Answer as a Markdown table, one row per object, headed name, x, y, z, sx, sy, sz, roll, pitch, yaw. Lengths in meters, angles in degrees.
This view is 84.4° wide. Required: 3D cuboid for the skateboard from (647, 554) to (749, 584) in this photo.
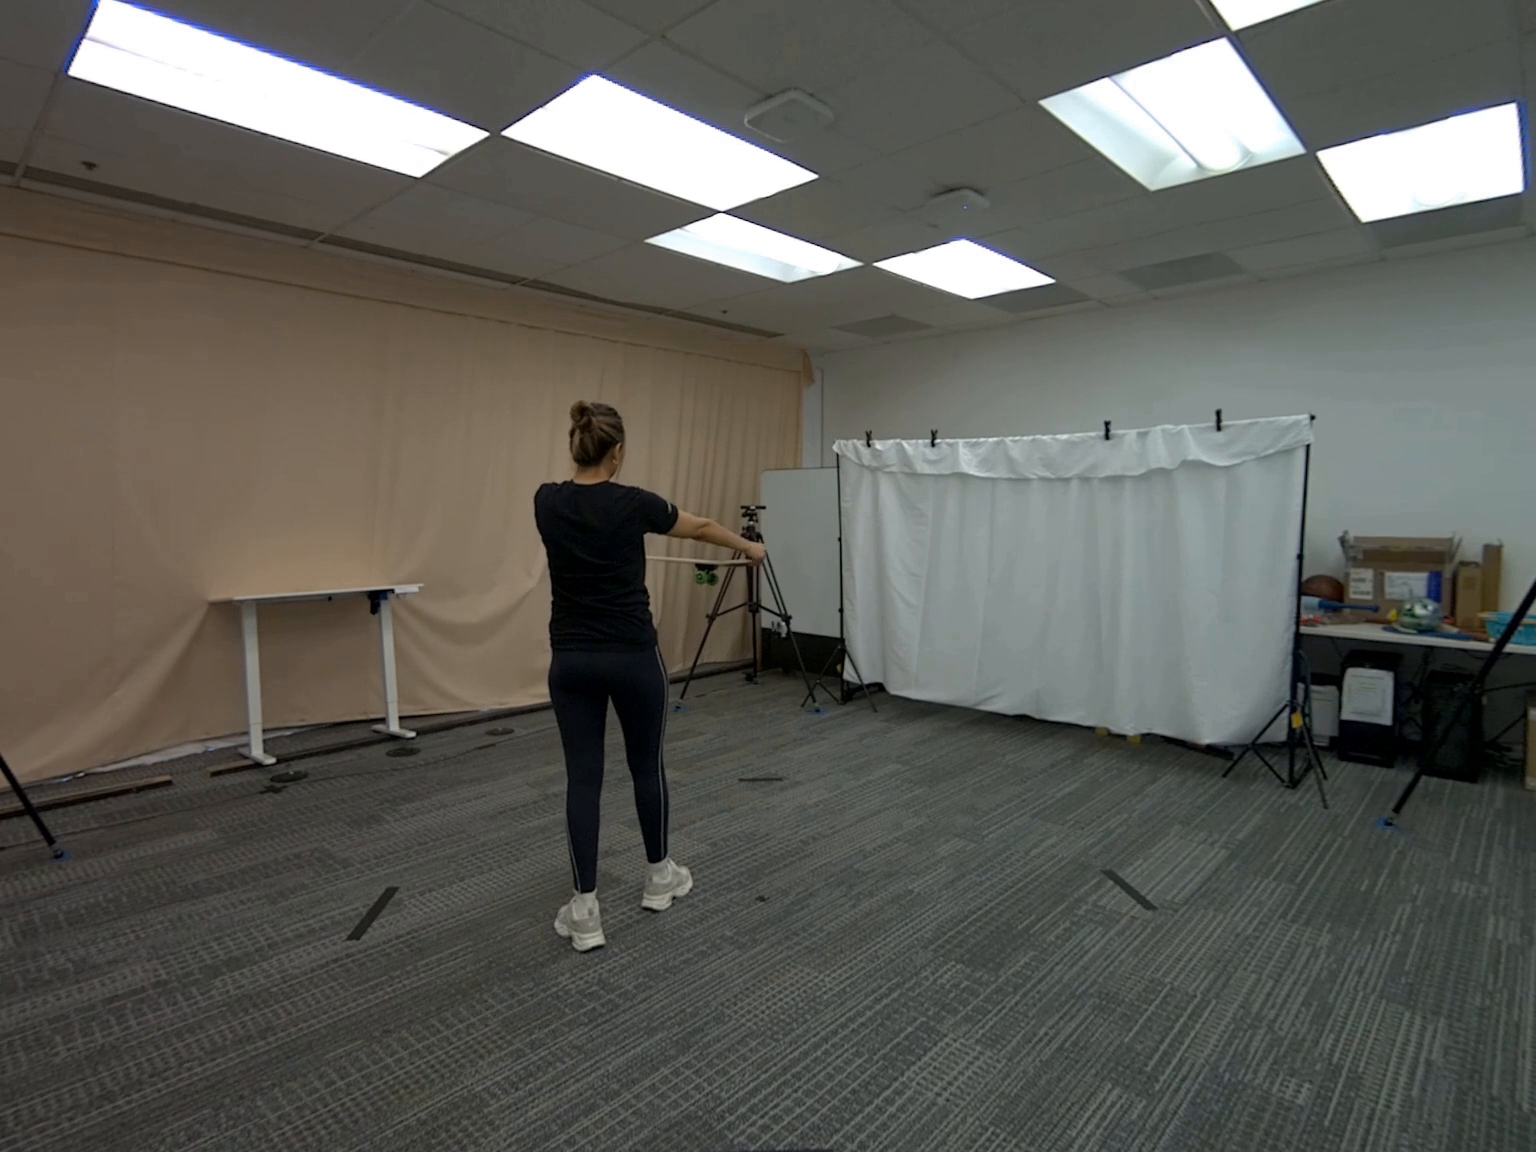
| name | x | y | z | sx | sy | sz | roll | pitch | yaw |
| --- | --- | --- | --- | --- | --- | --- | --- | --- | --- |
| skateboard | -0.427 | -0.036 | 3.272 | 0.800 | 0.110 | 0.189 | 4 | -4 | 16 |
